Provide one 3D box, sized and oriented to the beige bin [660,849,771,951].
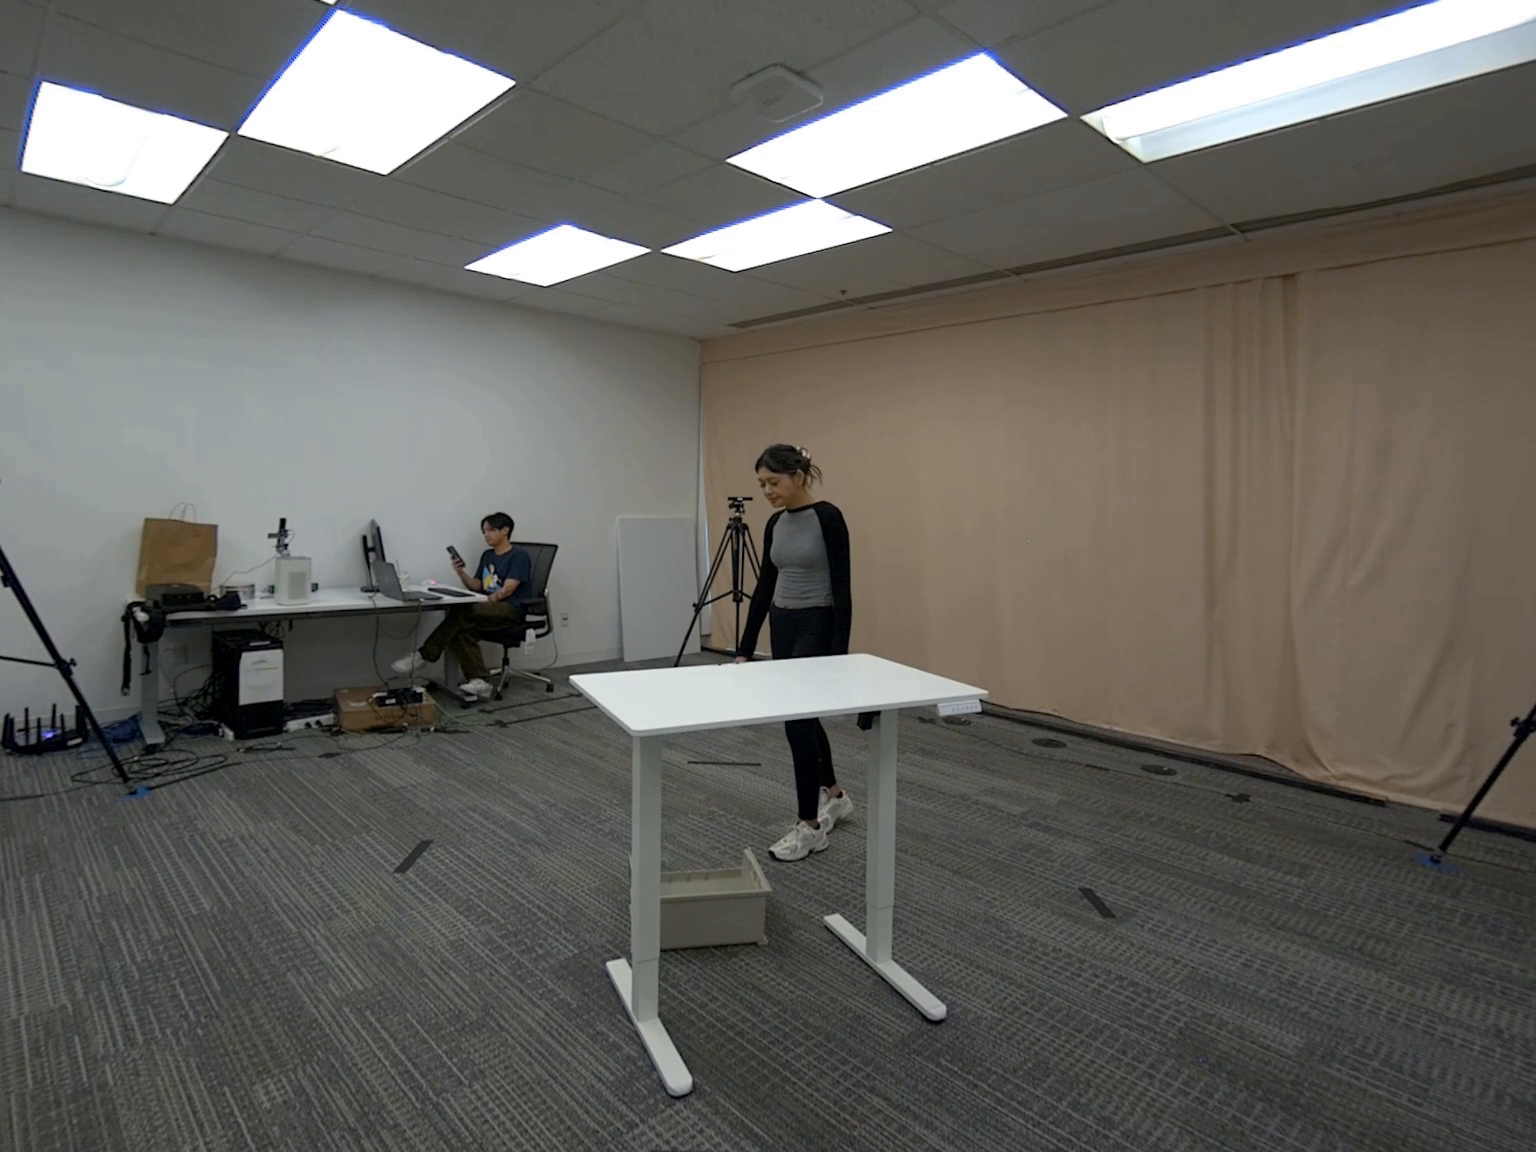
[{"bbox_3d":[-0.241,1.046,2.758,0.418,0.188,0.382,1,5,-13],"label":"beige bin"}]
